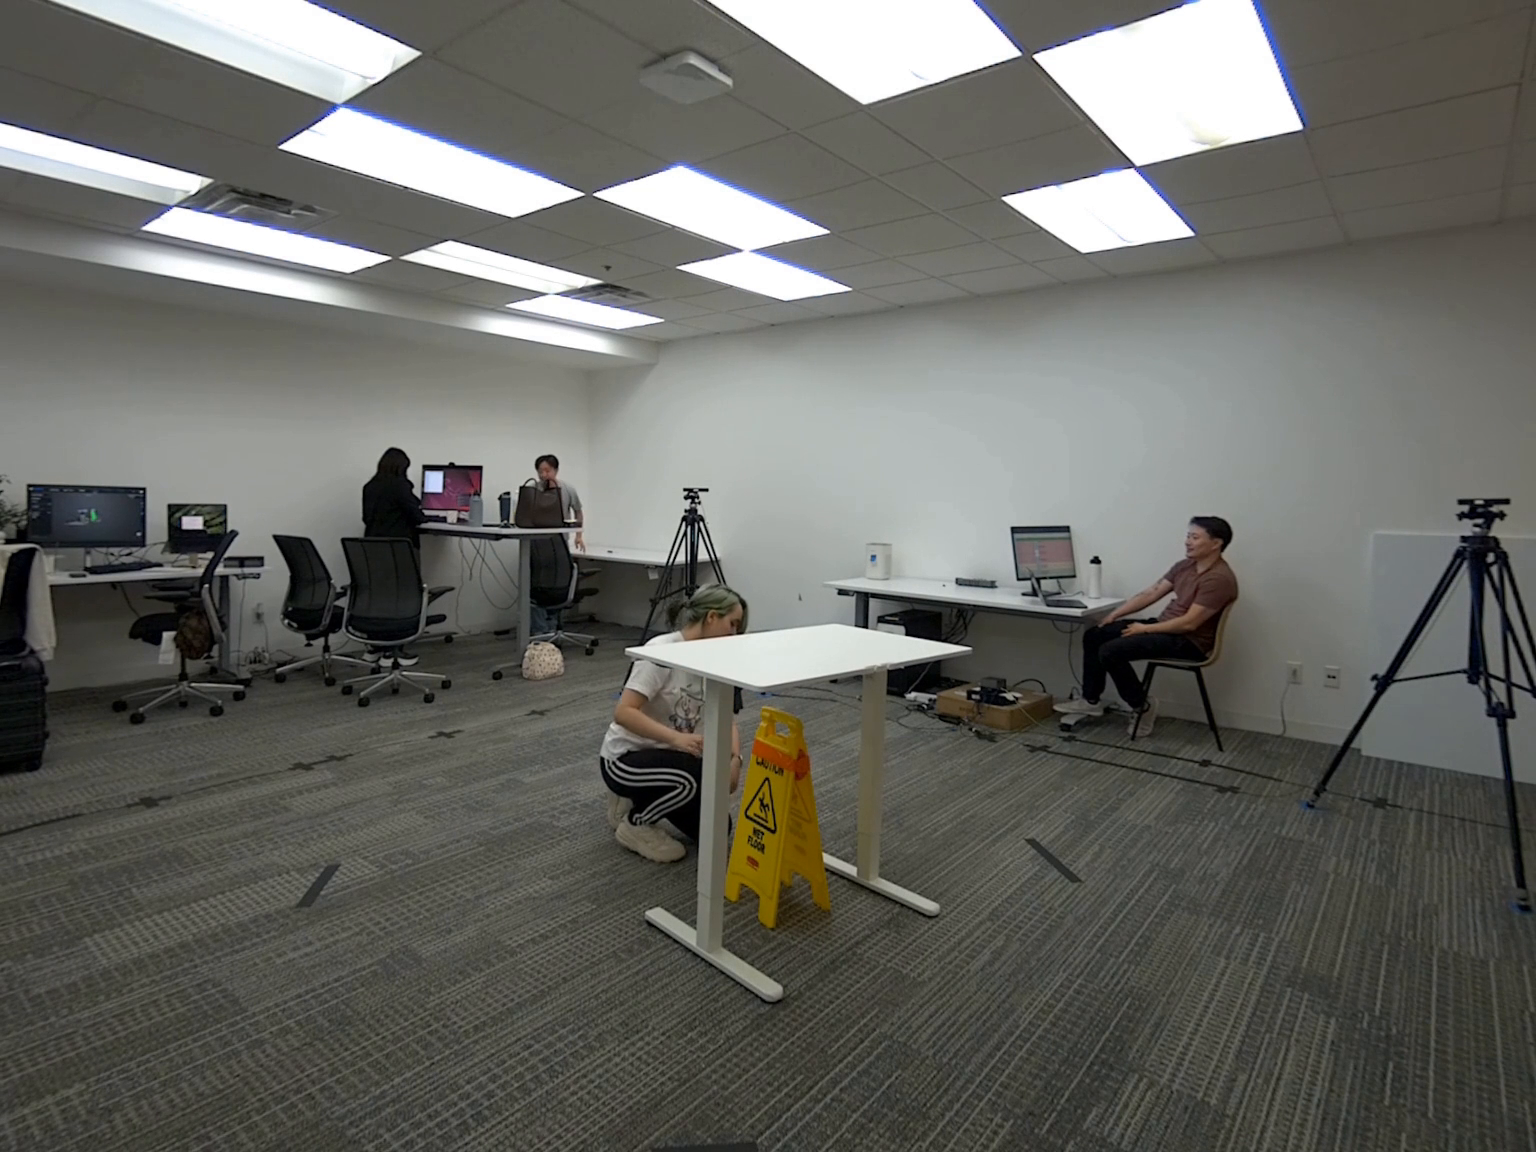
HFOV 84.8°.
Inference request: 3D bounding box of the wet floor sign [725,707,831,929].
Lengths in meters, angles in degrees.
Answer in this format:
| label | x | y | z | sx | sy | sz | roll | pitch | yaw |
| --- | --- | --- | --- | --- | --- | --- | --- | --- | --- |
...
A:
| label | x | y | z | sx | sy | sz | roll | pitch | yaw |
| --- | --- | --- | --- | --- | --- | --- | --- | --- | --- |
| wet floor sign | 0.026 | 0.773 | 2.849 | 0.281 | 0.645 | 0.291 | -1 | 3 | -35 |
